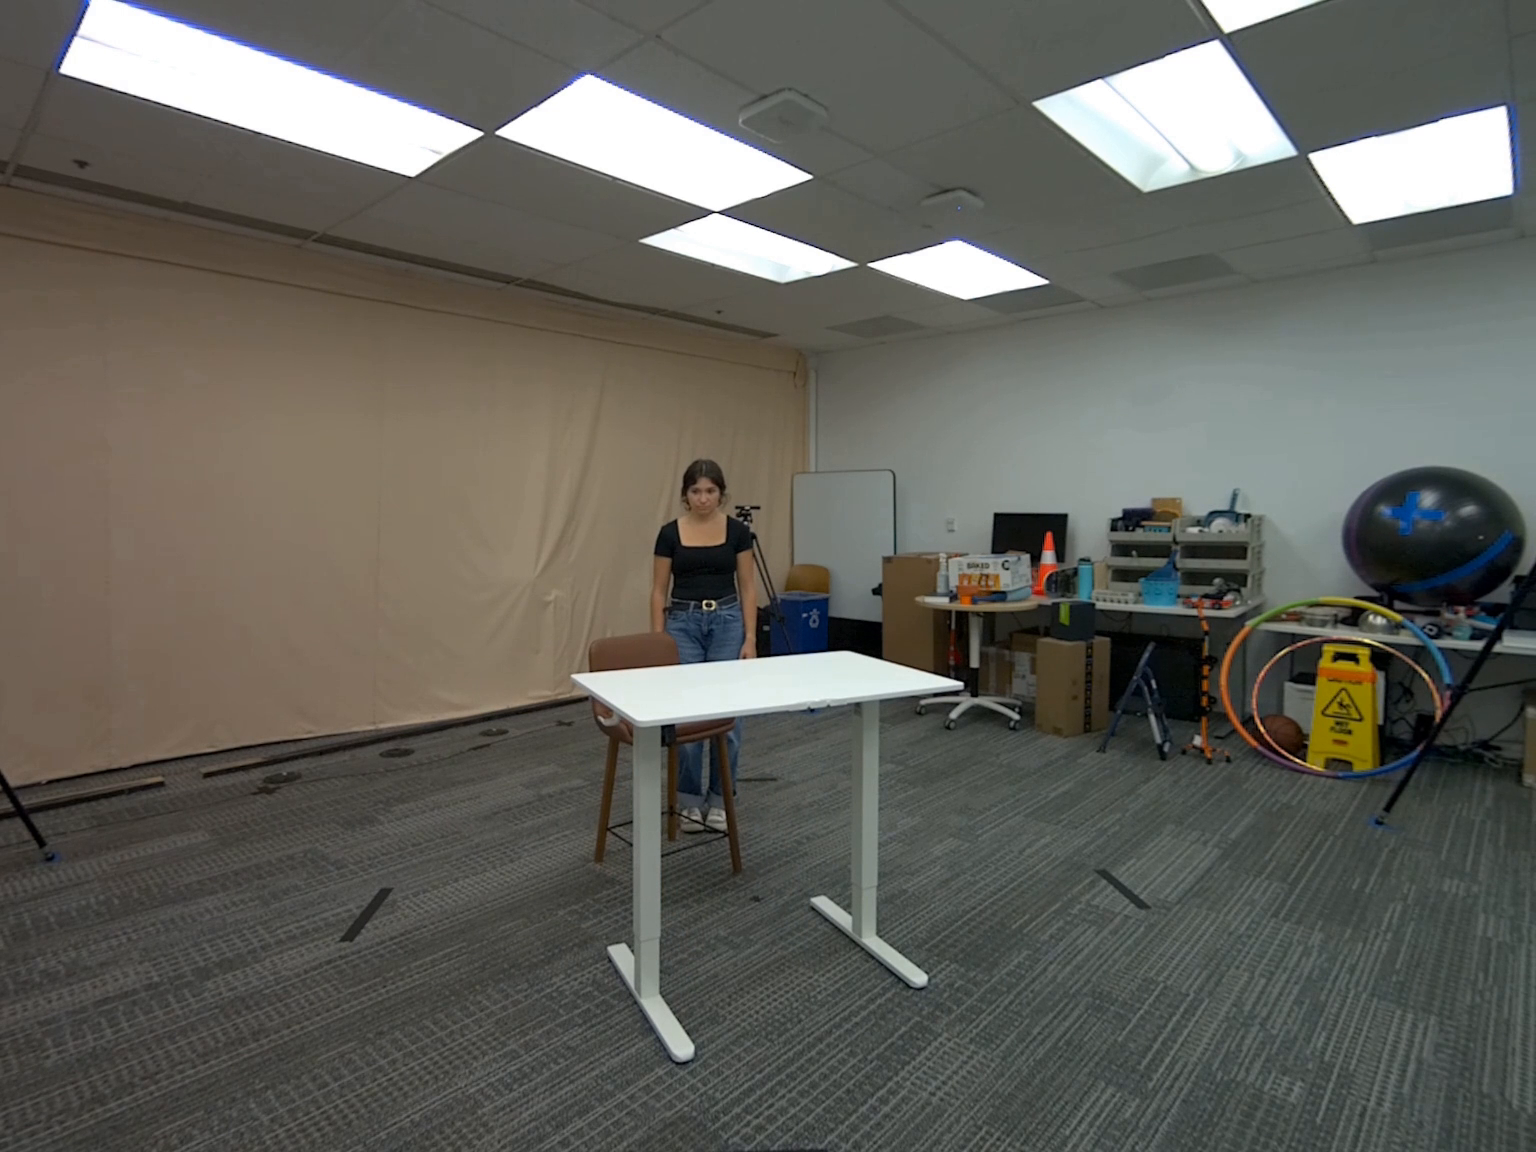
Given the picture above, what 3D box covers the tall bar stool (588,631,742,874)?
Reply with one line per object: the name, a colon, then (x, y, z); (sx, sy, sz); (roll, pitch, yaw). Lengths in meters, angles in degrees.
tall bar stool: (-0.410, 0.690, 3.227); (0.443, 0.889, 0.482); (-3, 2, -39)
